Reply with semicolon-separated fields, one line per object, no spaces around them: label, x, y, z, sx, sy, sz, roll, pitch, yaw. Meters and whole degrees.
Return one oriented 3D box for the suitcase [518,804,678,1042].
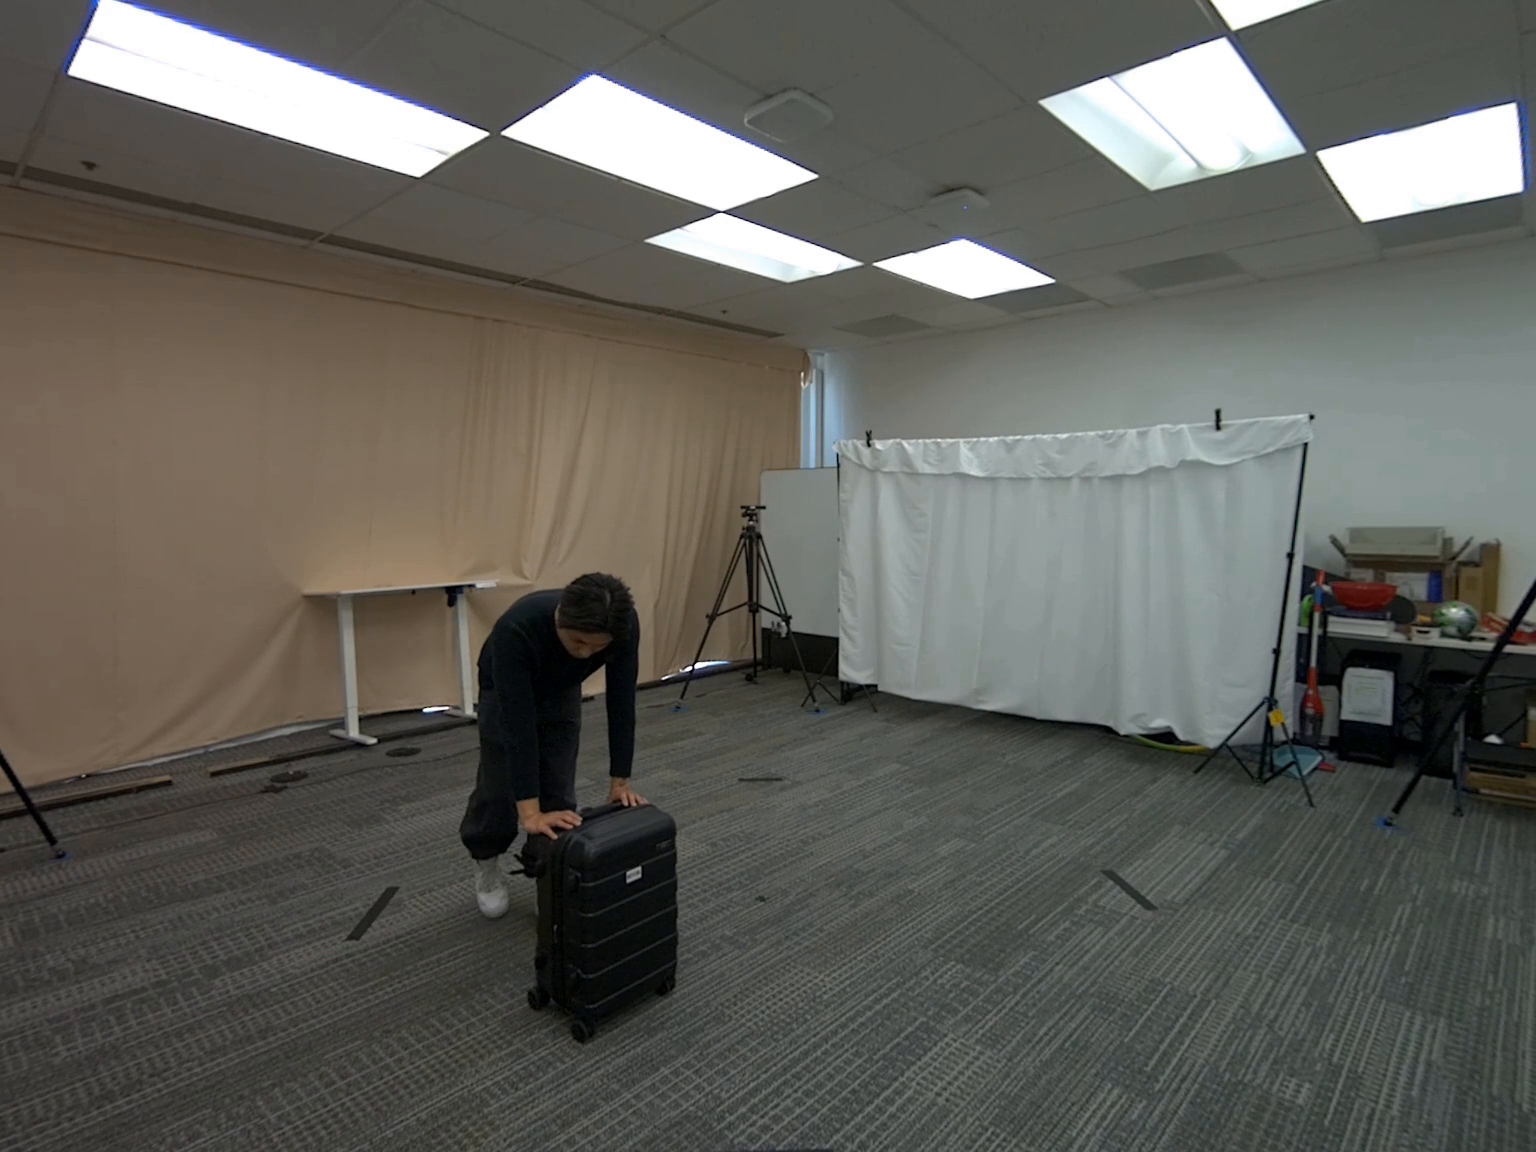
suitcase;-0.445;0.926;2.352;0.257;0.548;0.364;6;5;42
